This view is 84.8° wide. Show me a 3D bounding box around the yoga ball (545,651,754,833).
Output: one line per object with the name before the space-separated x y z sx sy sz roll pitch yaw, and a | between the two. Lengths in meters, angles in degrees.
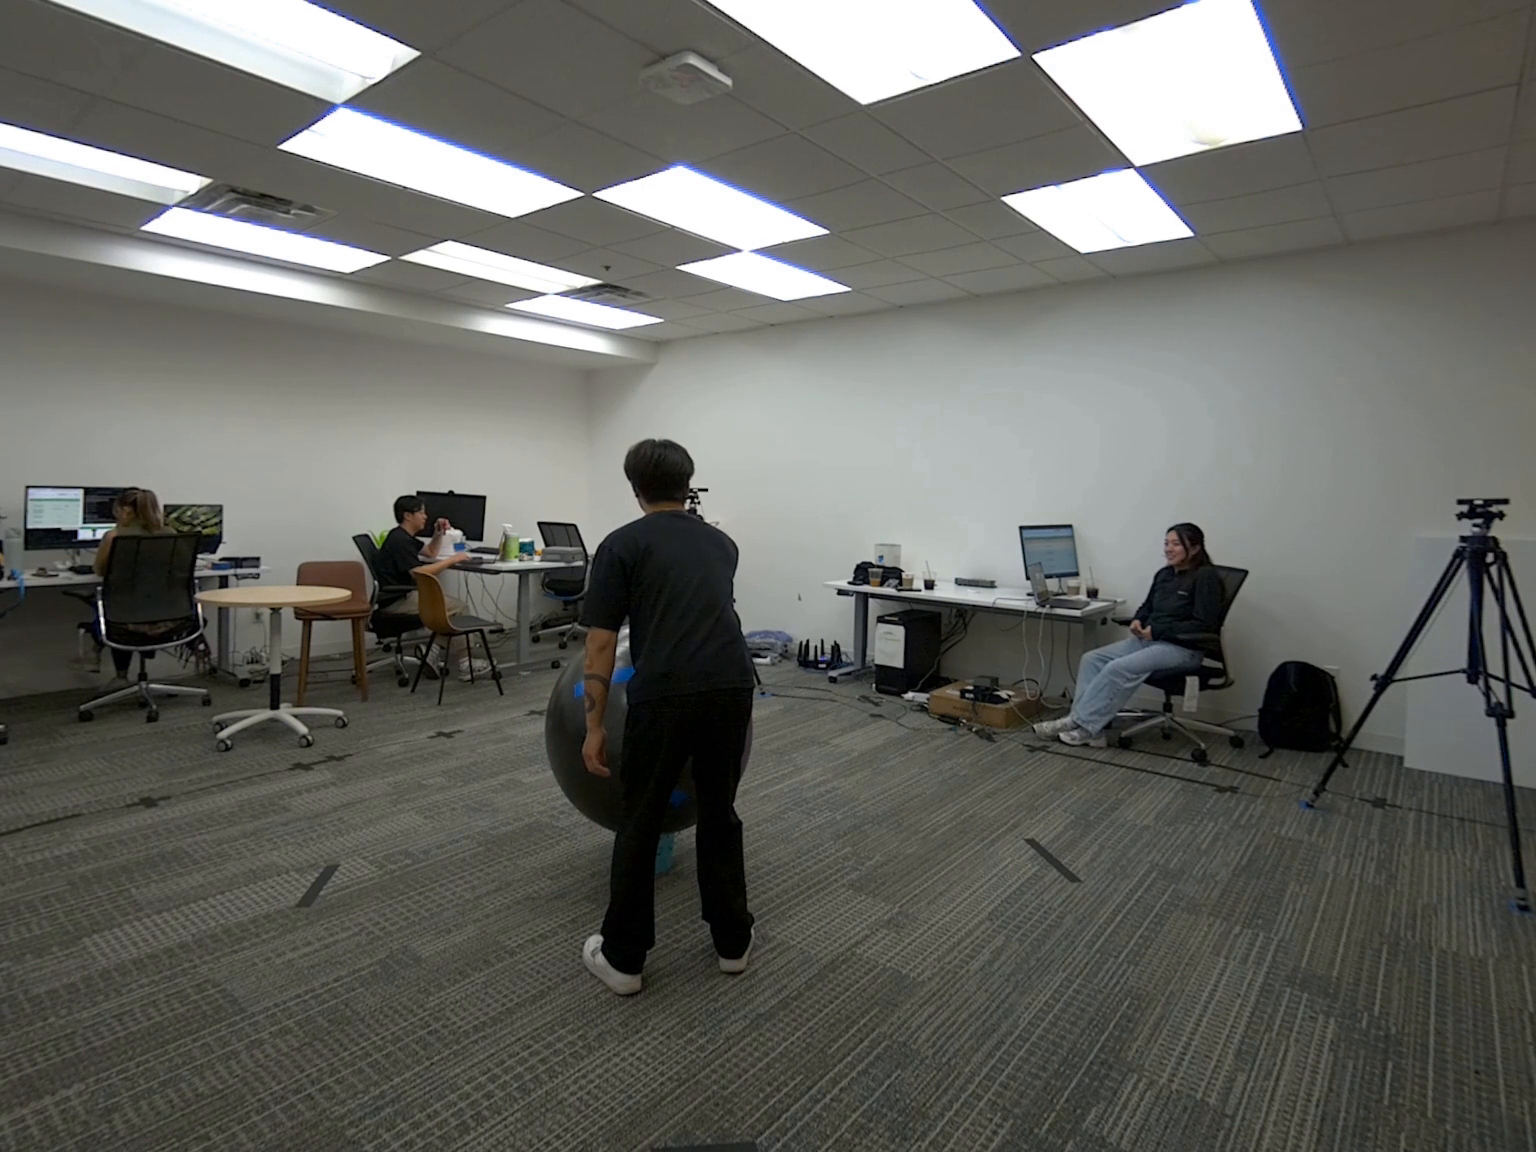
yoga ball | -0.445 0.557 3.133 0.757 0.756 0.762 1 4 -2
